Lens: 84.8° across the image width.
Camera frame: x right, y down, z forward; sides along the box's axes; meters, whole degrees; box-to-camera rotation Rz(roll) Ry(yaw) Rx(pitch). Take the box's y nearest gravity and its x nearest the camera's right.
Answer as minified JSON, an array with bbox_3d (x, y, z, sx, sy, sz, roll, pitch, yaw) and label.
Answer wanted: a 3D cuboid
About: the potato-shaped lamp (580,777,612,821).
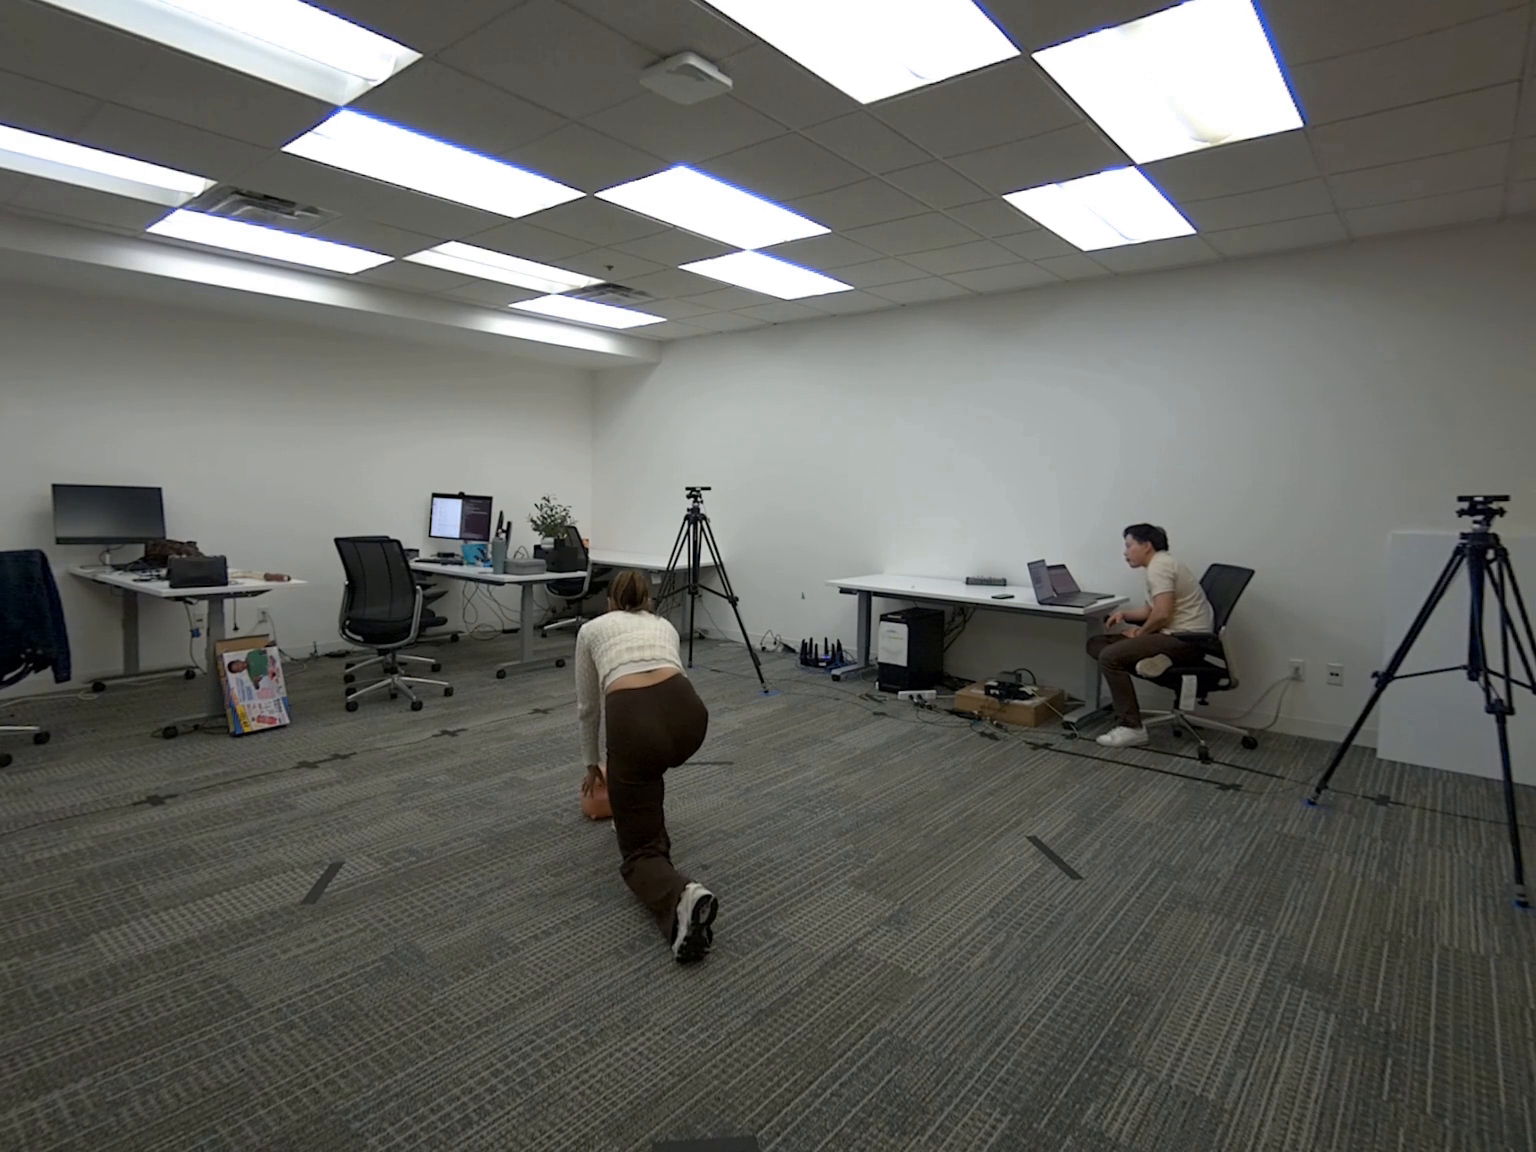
[{"bbox_3d":[-0.727,0.906,3.606,0.161,0.197,0.175,-3,4,-22],"label":"potato-shaped lamp"}]
